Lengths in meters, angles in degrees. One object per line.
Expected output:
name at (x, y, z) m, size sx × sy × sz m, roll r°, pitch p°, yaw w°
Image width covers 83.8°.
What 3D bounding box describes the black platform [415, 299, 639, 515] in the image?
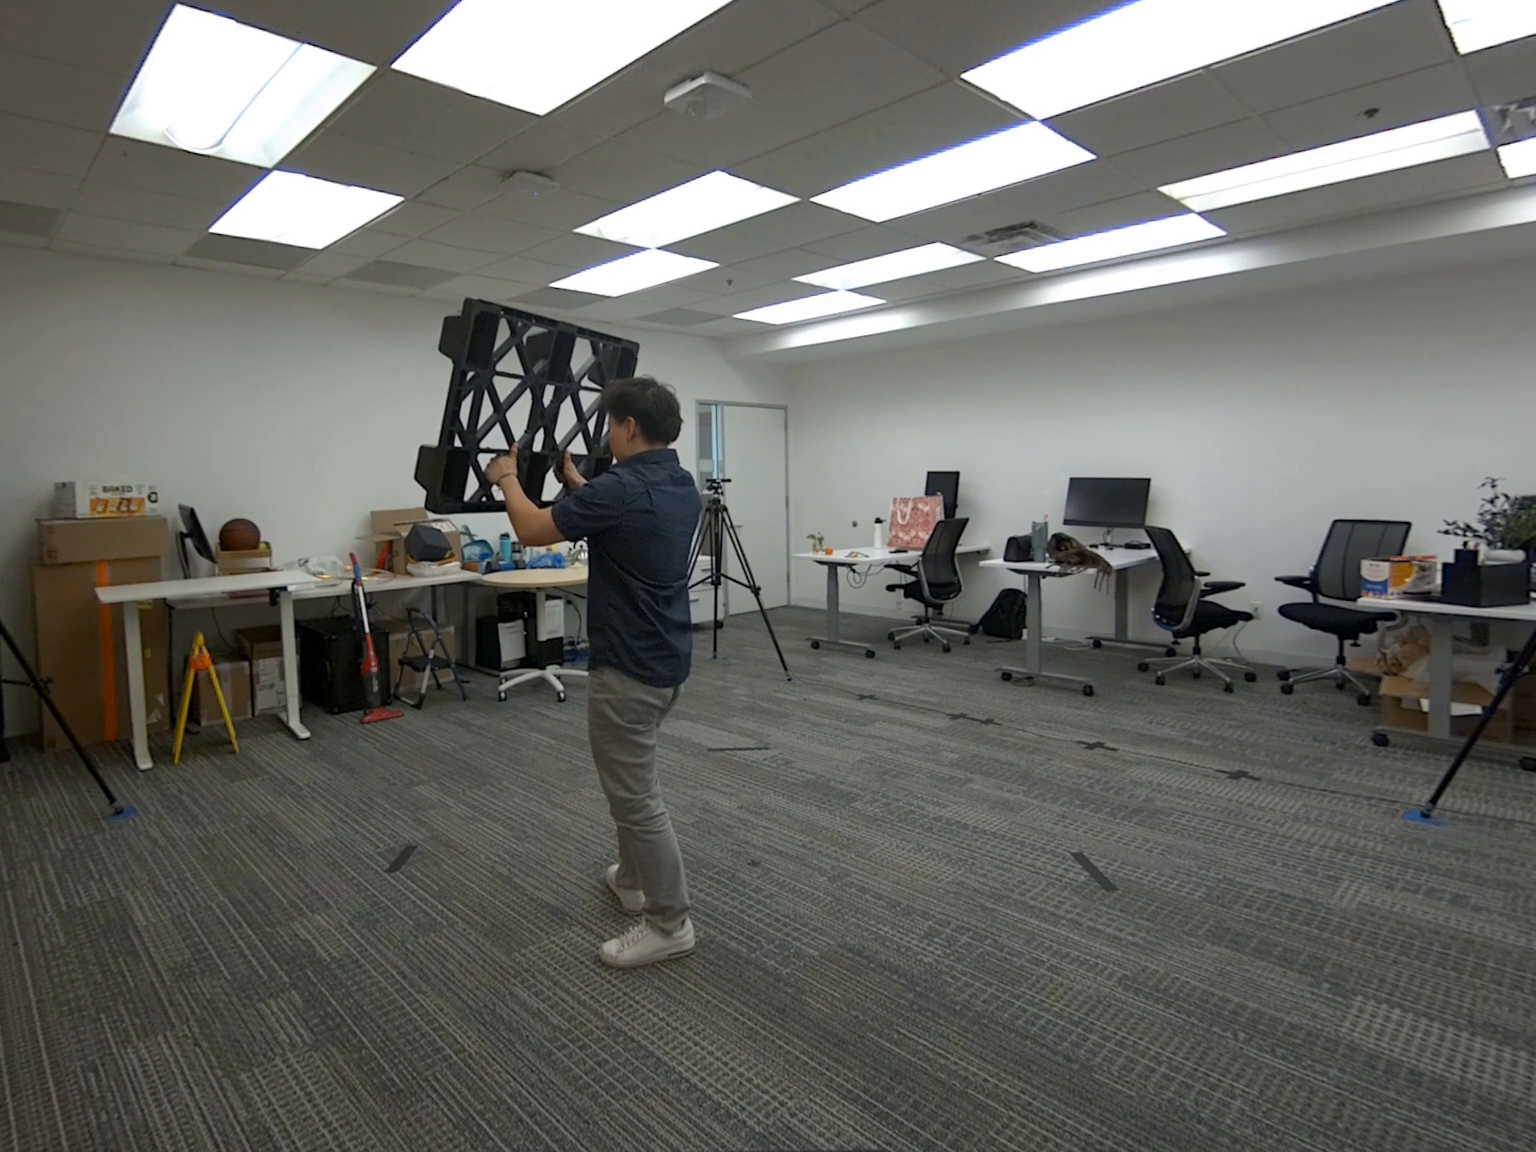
black platform at (-0.731, -0.509, 2.670) m, size 0.147 × 0.601 × 0.790 m, roll 18°, pitch 12°, yaw 22°
